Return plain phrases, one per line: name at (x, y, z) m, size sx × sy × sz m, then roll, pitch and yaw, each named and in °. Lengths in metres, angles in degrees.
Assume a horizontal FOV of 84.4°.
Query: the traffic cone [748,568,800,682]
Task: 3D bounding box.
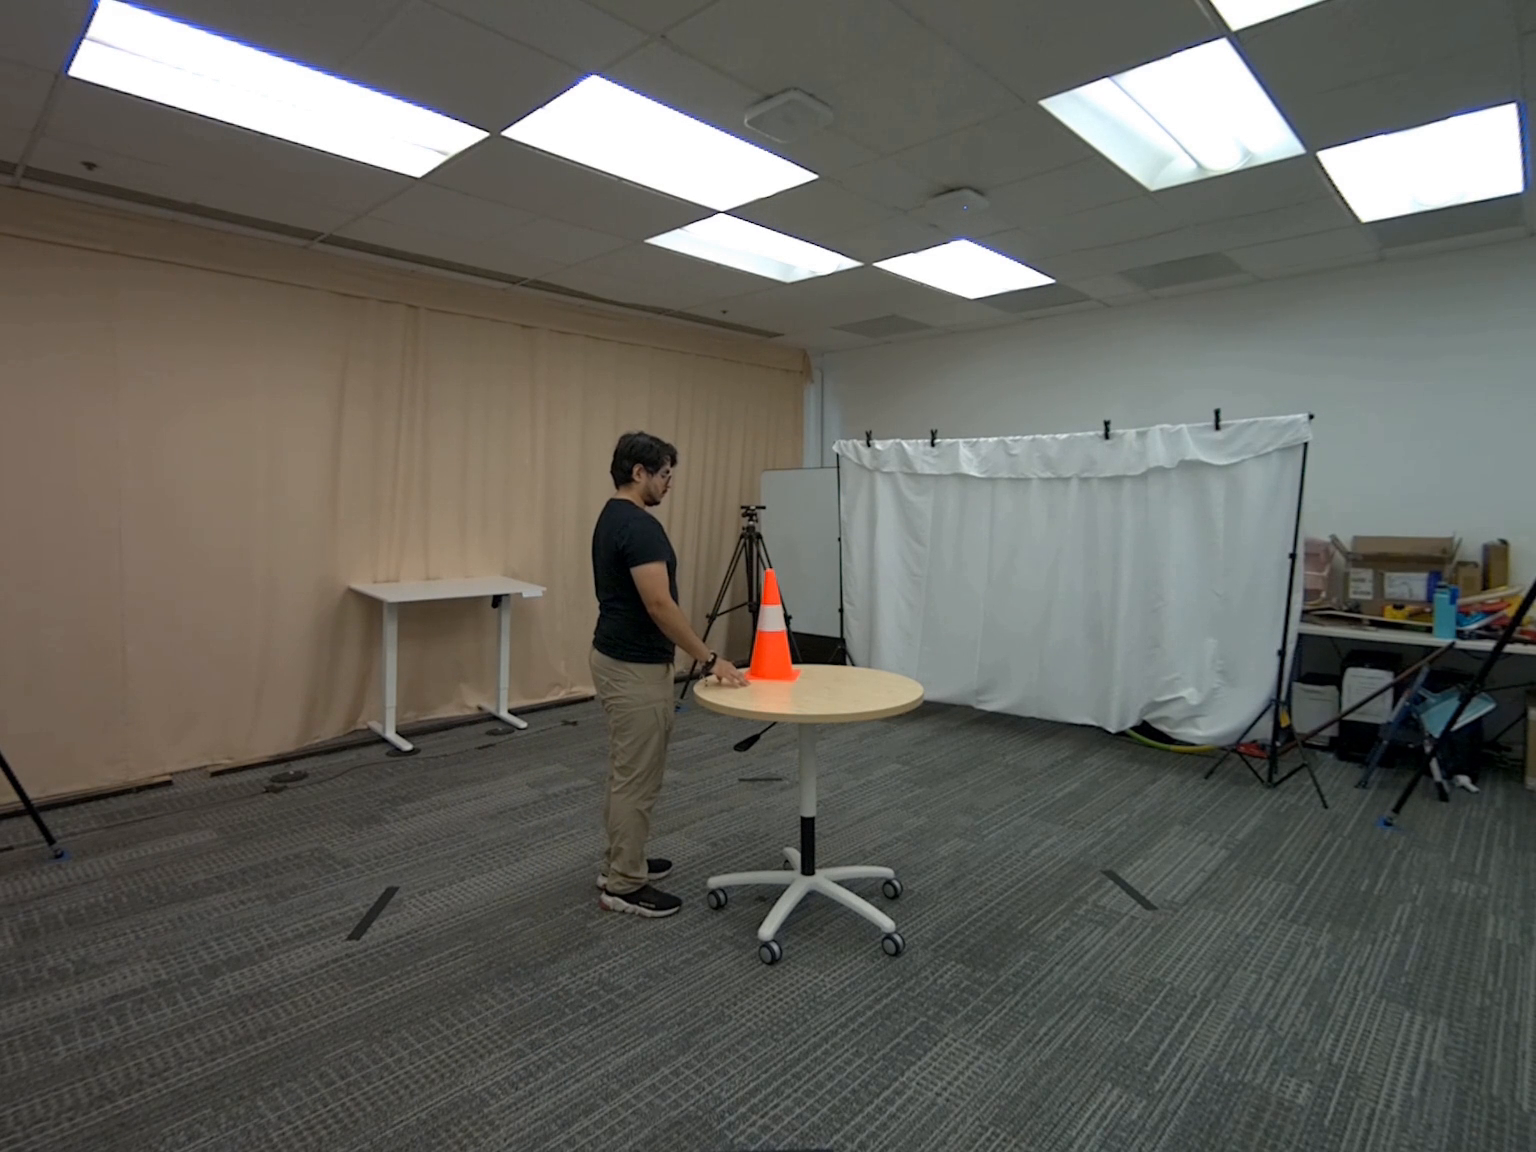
traffic cone at (0.010, 0.168, 3.022) m, size 0.203 × 0.383 × 0.205 m, roll -1°, pitch 1°, yaw -11°
